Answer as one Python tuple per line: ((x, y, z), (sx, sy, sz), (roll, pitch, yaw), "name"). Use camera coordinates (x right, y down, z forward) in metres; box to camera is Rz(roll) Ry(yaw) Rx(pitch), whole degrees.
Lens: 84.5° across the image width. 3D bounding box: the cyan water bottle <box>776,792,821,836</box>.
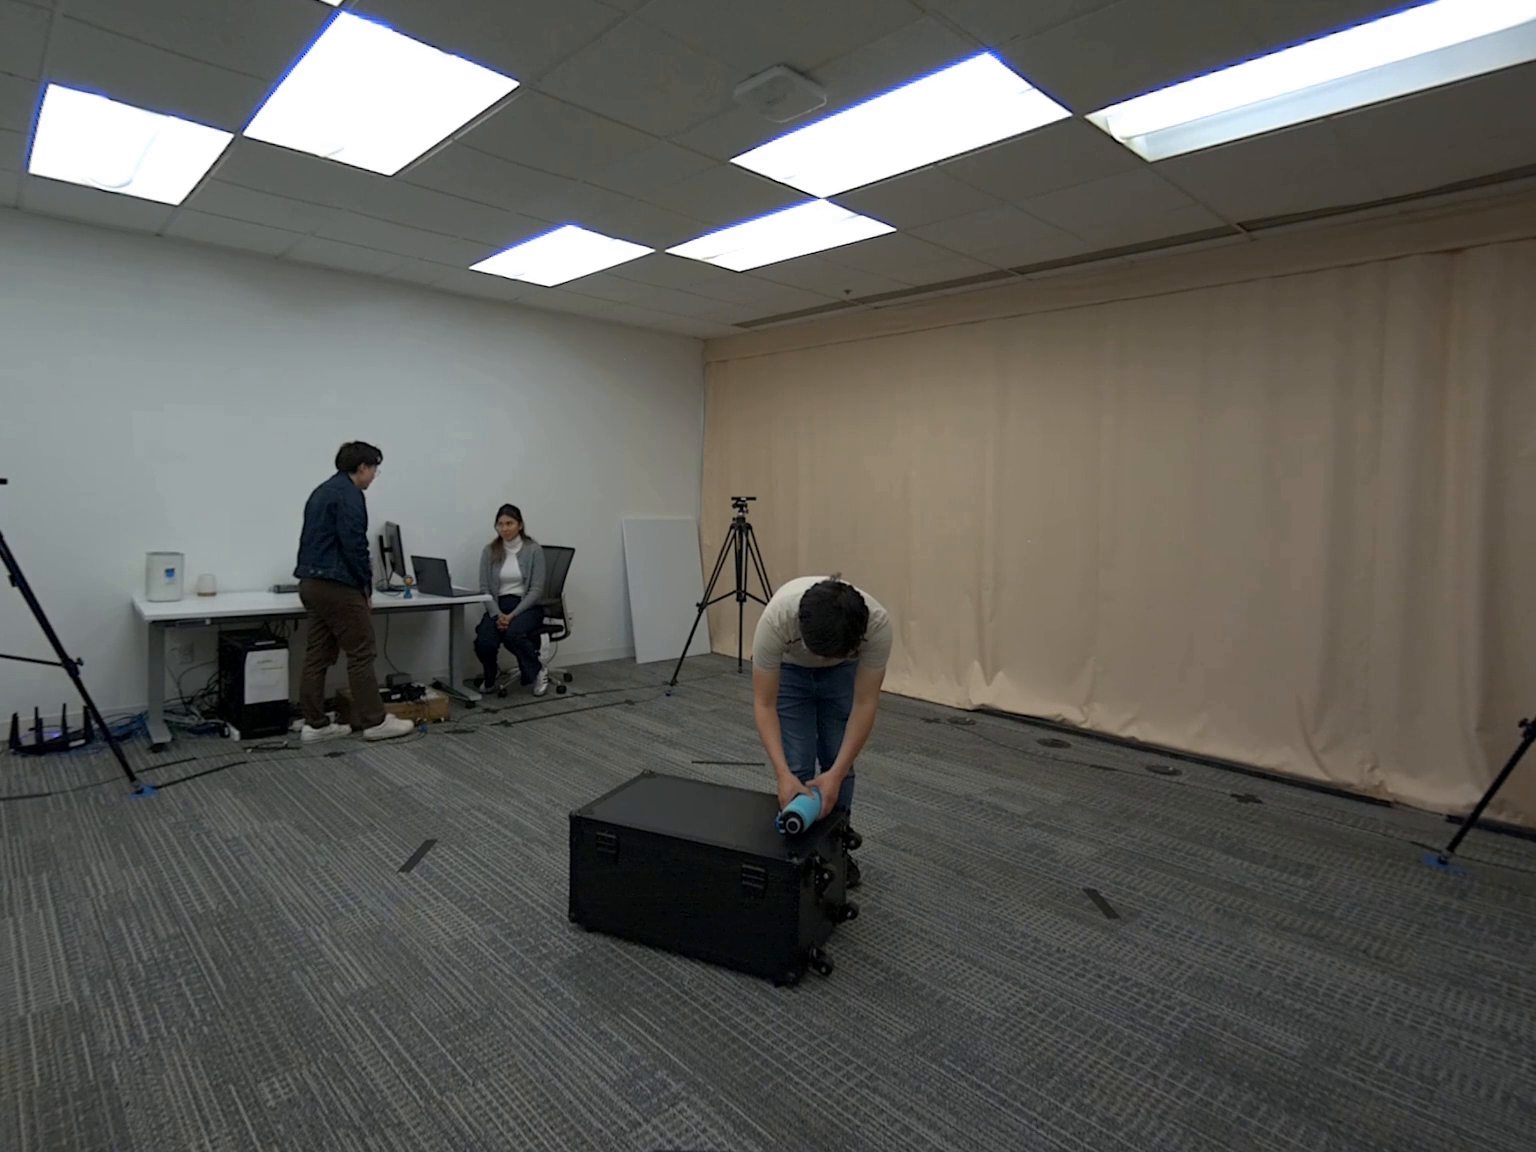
((0.090, 0.734, 2.603), (0.094, 0.092, 0.279), (3, 5, 20), "cyan water bottle")
